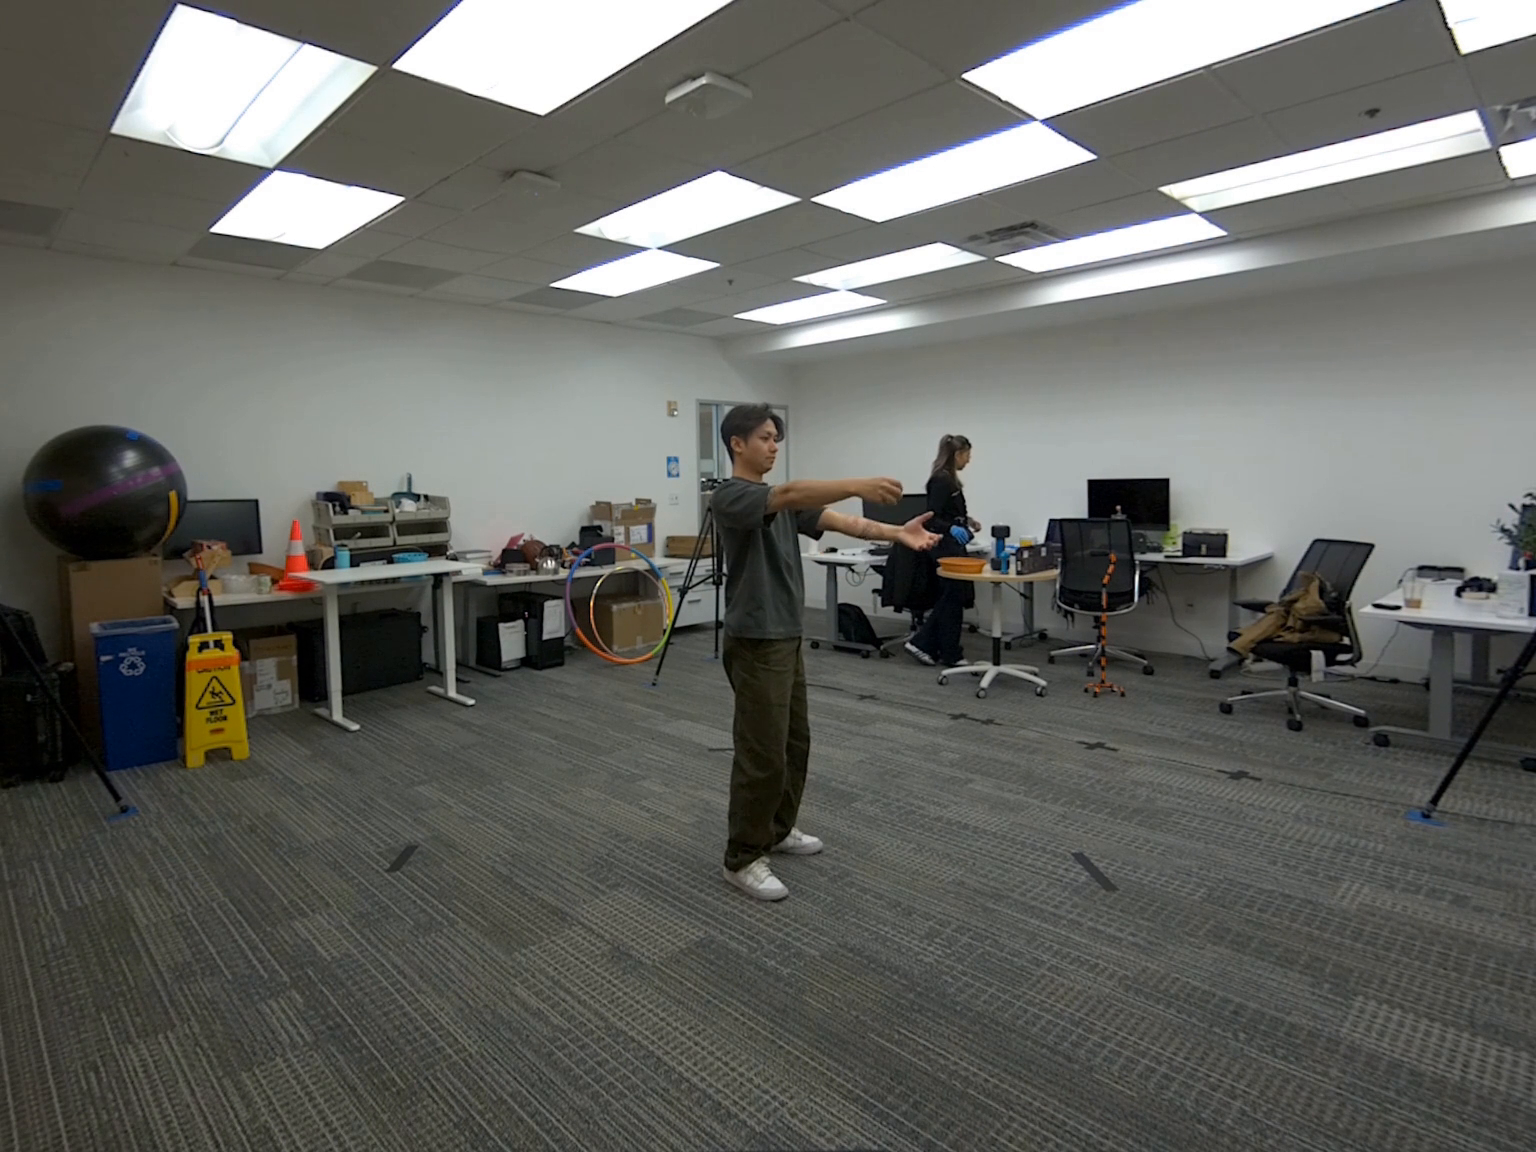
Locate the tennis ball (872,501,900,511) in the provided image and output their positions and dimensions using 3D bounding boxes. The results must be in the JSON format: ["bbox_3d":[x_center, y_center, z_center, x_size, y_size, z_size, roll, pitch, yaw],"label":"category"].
[{"bbox_3d":[0.353,-0.233,2.576,0.066,0.066,0.067,-1,5,-2],"label":"tennis ball"}]
